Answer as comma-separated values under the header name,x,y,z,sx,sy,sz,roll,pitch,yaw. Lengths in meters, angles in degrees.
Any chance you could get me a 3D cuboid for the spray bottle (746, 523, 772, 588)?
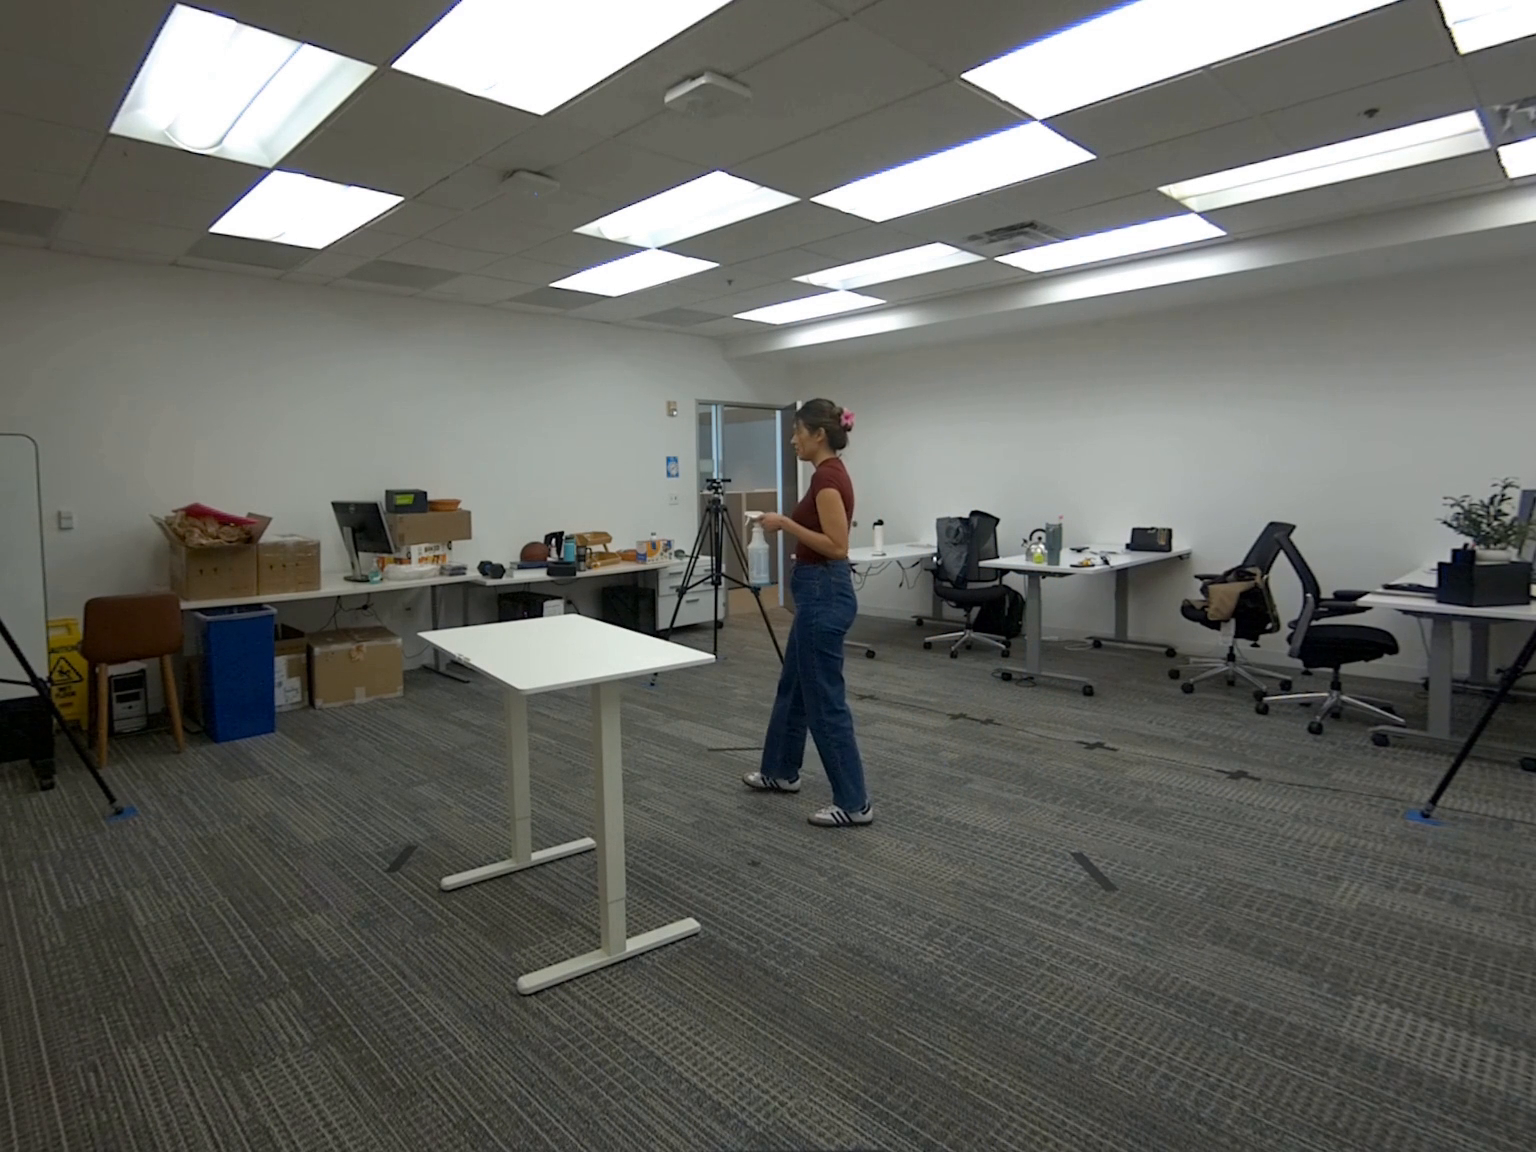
name,x,y,z,sx,sy,sz,roll,pitch,yaw
spray bottle,-0.036,-0.107,3.408,0.092,0.297,0.085,-2,1,19
